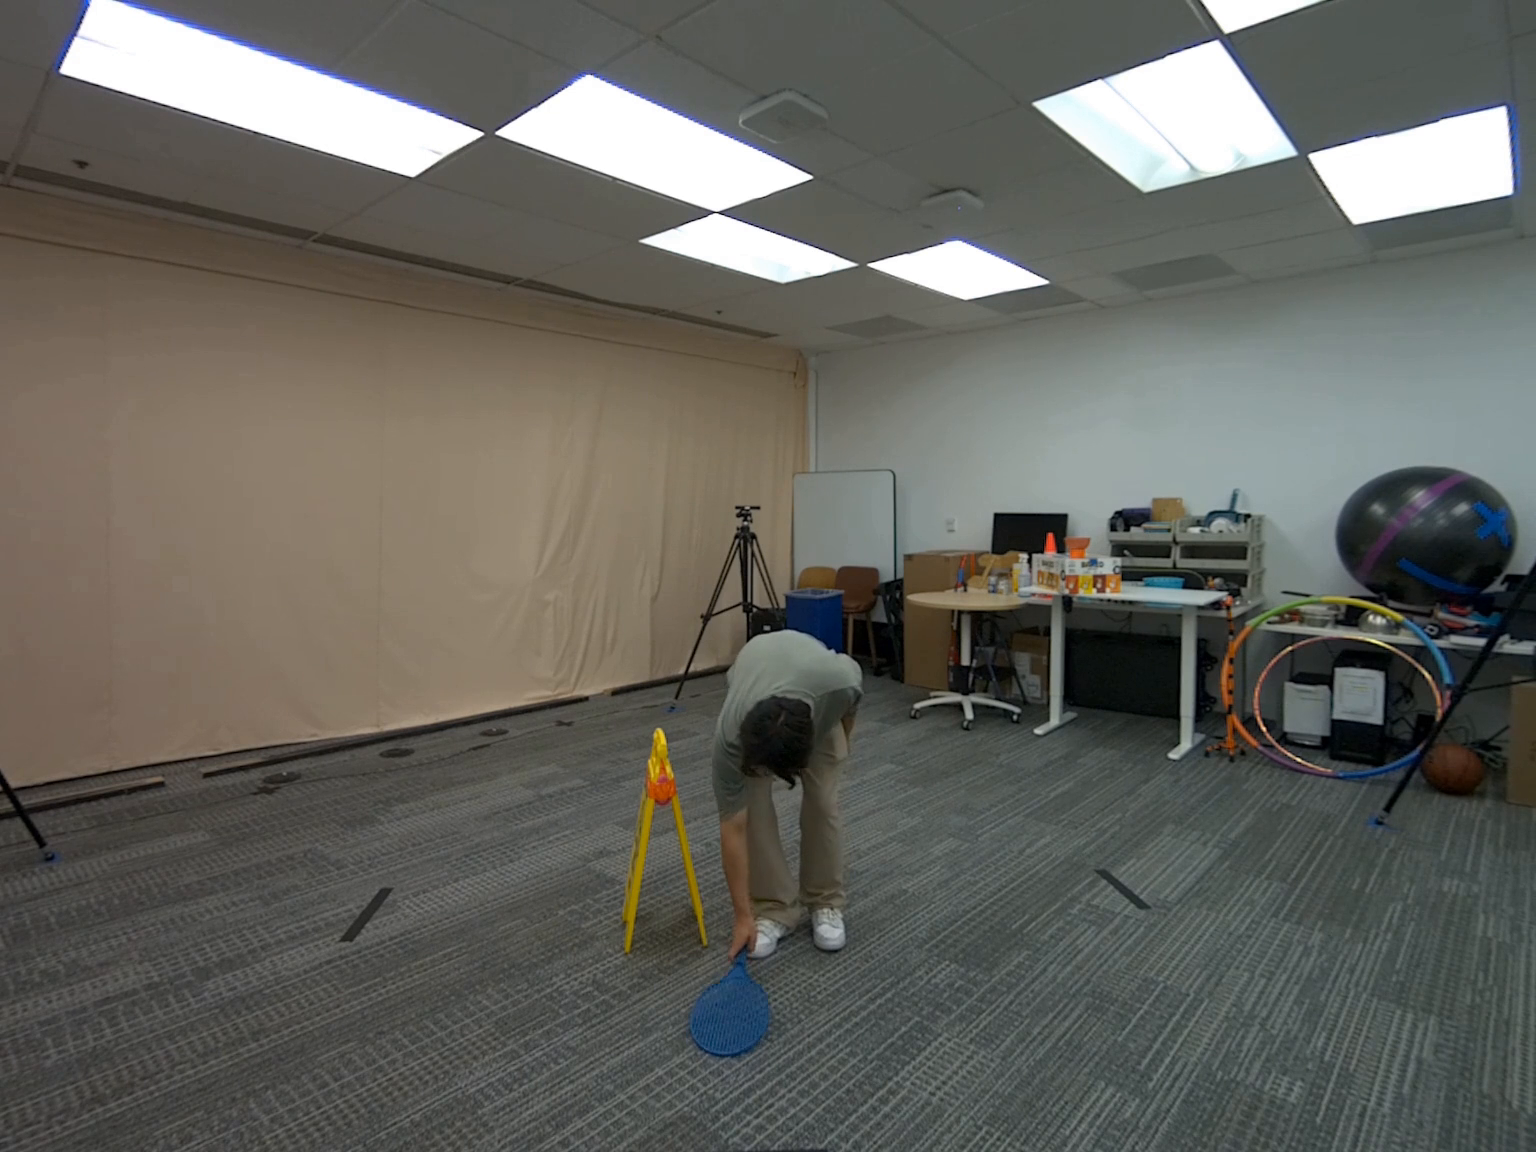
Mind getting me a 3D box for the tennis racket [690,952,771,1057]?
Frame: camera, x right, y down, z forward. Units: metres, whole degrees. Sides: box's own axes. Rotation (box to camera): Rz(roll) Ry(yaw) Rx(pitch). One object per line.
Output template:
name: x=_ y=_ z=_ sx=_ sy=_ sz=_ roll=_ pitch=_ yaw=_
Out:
tennis racket: x=-0.091 y=1.143 z=2.328 sx=0.217 sy=0.031 sz=0.431 roll=-5 pitch=15 yaw=14
